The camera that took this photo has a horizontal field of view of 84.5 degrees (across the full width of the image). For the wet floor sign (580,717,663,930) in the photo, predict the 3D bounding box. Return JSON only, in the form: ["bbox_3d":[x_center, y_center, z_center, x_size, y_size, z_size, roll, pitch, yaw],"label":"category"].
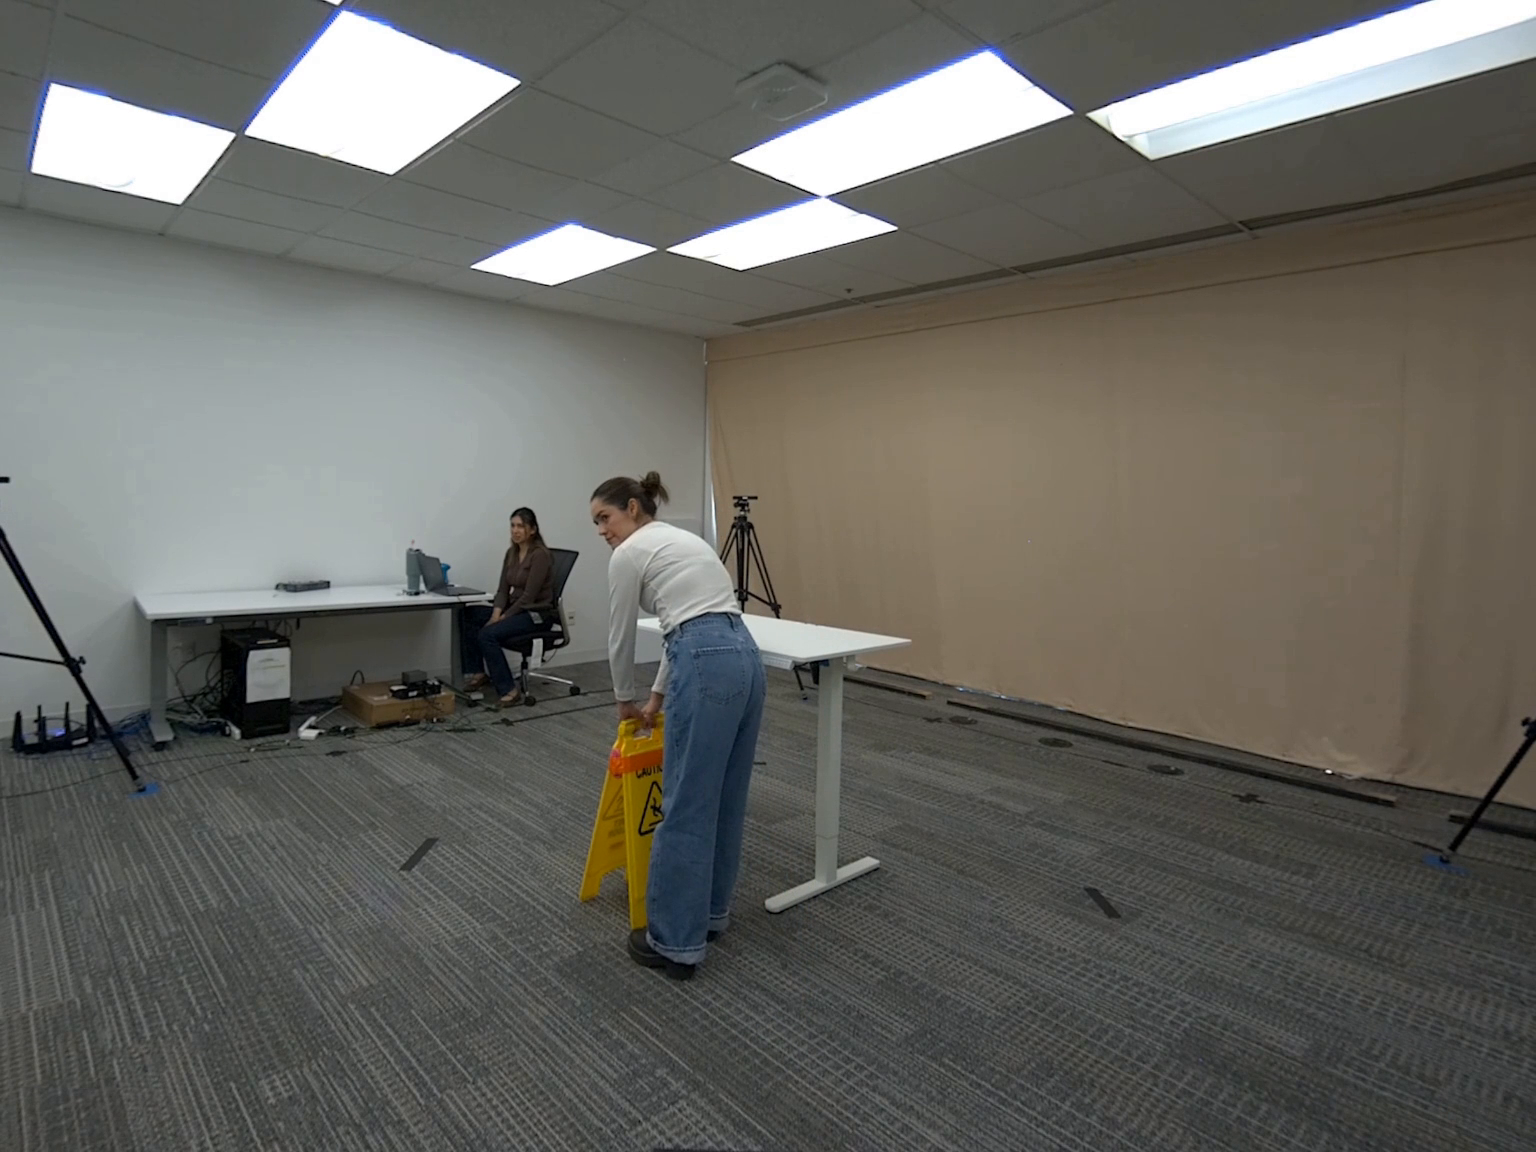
[{"bbox_3d":[-0.437,0.792,2.847,0.297,0.644,0.276,7,6,41],"label":"wet floor sign"}]
